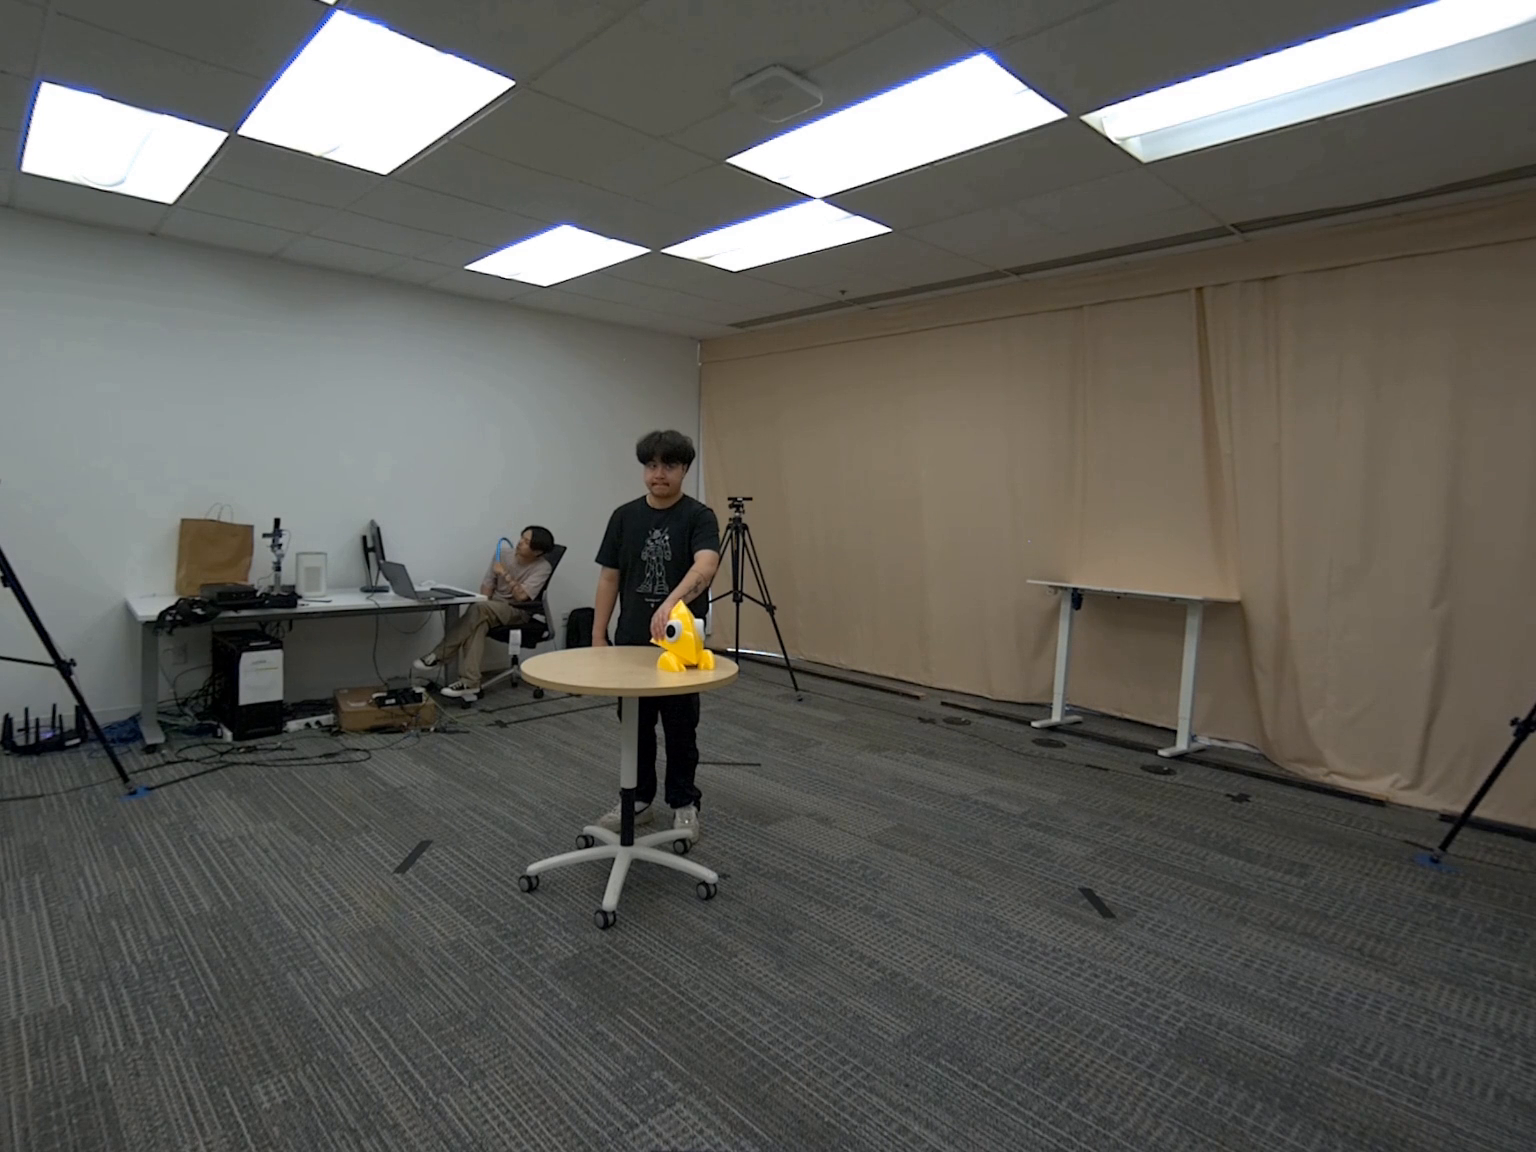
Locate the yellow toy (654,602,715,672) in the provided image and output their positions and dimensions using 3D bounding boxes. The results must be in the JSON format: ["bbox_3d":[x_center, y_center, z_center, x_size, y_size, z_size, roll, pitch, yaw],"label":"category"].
[{"bbox_3d":[-0.300,0.209,2.994,0.201,0.230,0.197,1,4,-26],"label":"yellow toy"}]
